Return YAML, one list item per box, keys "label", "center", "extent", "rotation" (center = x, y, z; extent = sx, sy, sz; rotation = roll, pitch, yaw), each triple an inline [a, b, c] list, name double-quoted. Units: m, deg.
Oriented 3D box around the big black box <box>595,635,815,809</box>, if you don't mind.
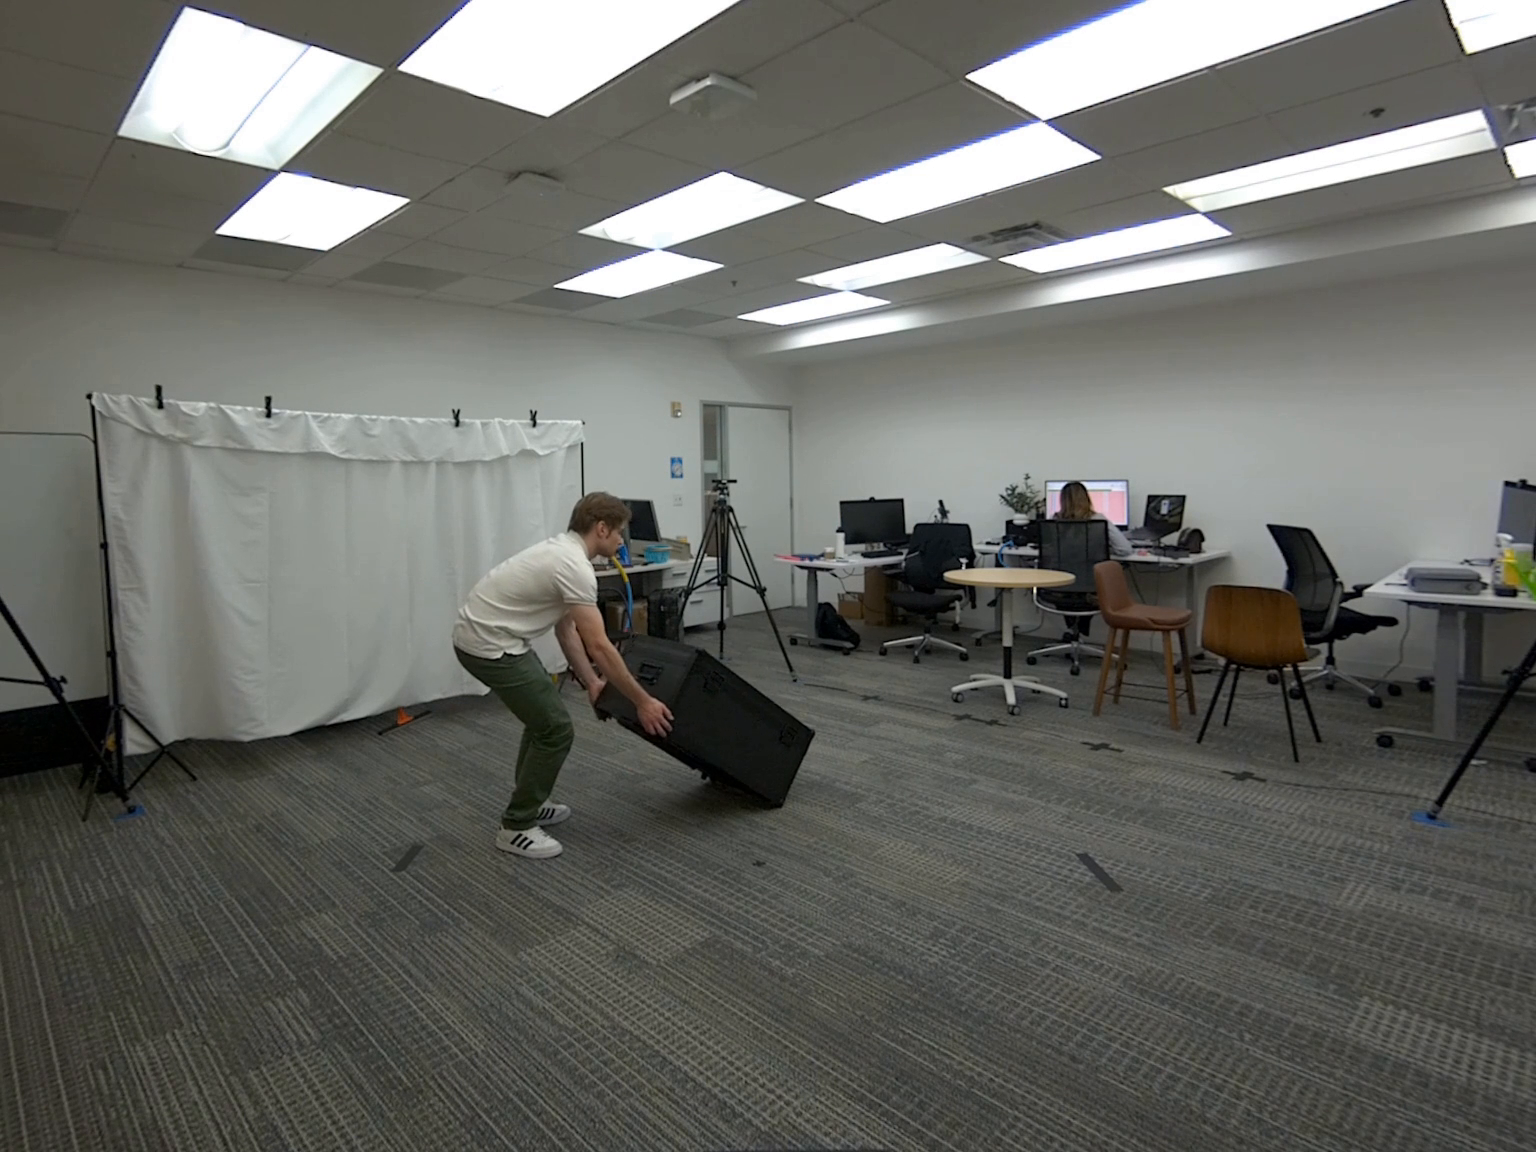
- label: "big black box"
  center: [-0.243, 0.643, 3.682]
  extent: [0.537, 0.399, 0.830]
  rotation: [4, -29, 49]
